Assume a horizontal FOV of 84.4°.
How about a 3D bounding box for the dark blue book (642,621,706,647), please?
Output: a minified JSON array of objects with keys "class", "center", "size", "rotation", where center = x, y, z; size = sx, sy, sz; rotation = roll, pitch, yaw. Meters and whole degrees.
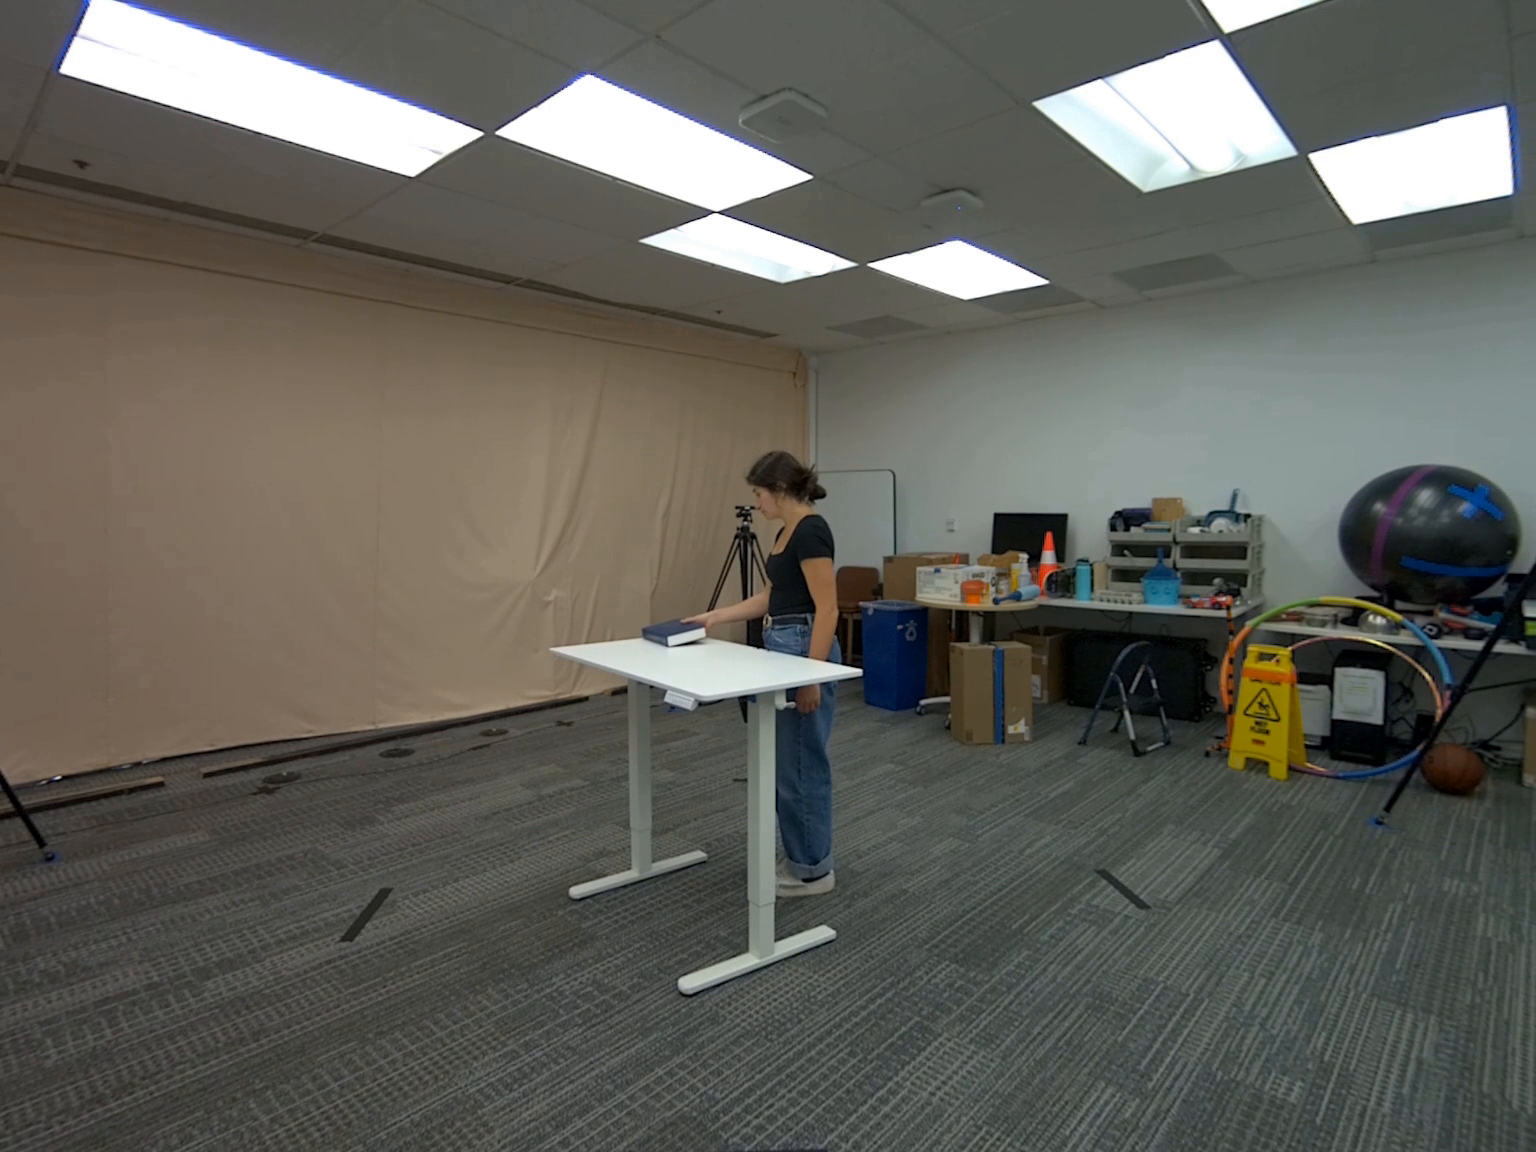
[{"class":"dark blue book","center":[-0.368,0.219,3.201],"size":[0.160,0.045,0.251],"rotation":[-12,9,-22]}]
